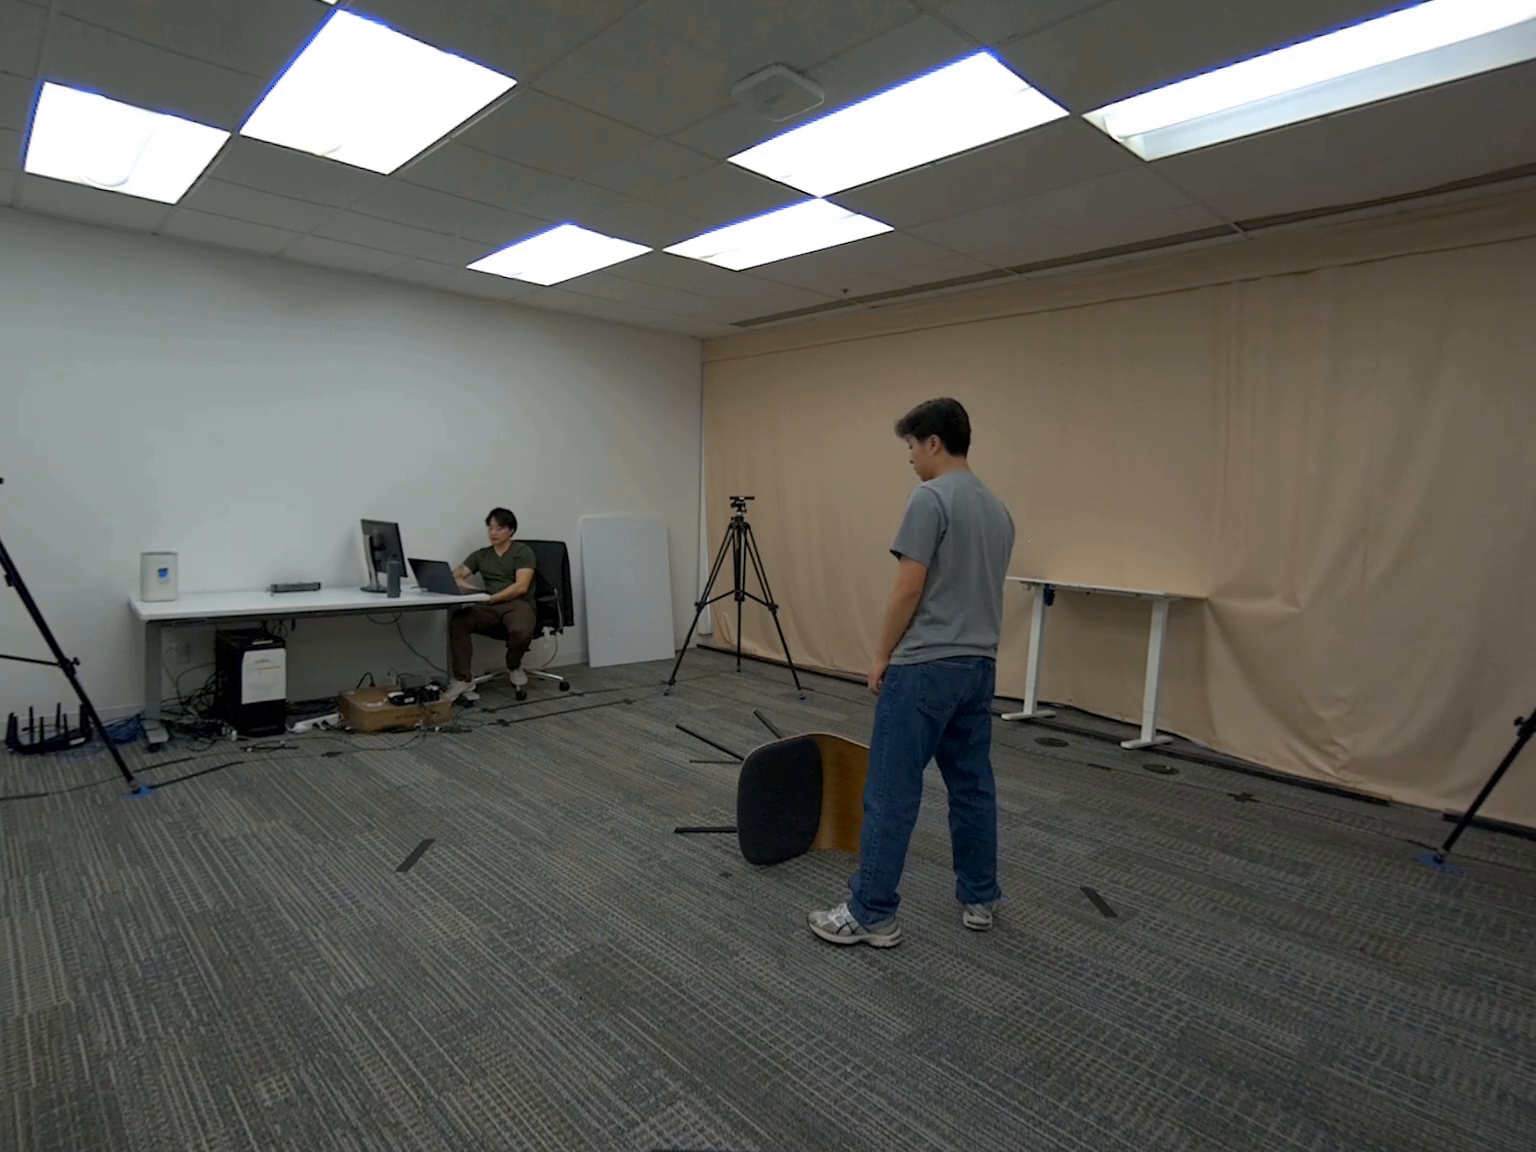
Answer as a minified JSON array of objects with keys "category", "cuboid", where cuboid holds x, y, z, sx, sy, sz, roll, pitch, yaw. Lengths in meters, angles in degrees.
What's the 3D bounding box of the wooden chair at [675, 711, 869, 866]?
[{"category":"wooden chair","cuboid":[0.057,0.859,3.306,0.900,0.477,0.511,5,5,43]}]
